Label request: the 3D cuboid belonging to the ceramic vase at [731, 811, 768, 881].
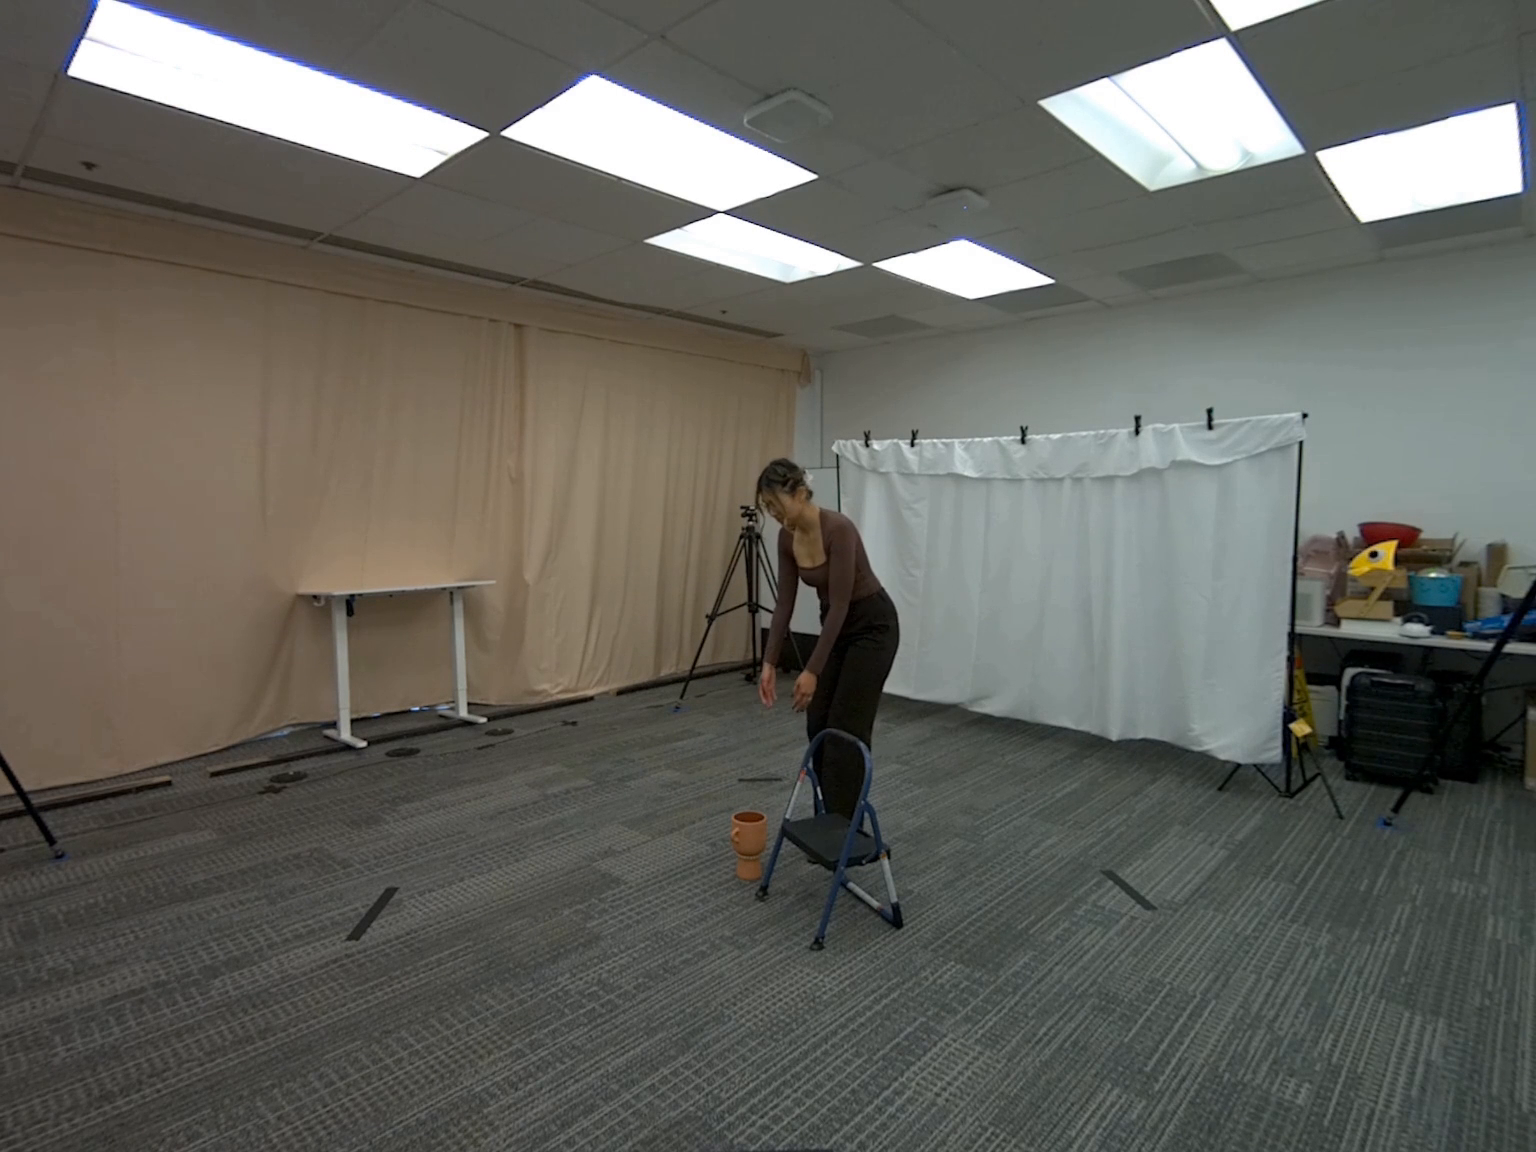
[{"bbox_3d":[-0.069,1.015,3.172,0.157,0.219,0.136,-1,4,-12],"label":"ceramic vase"}]
